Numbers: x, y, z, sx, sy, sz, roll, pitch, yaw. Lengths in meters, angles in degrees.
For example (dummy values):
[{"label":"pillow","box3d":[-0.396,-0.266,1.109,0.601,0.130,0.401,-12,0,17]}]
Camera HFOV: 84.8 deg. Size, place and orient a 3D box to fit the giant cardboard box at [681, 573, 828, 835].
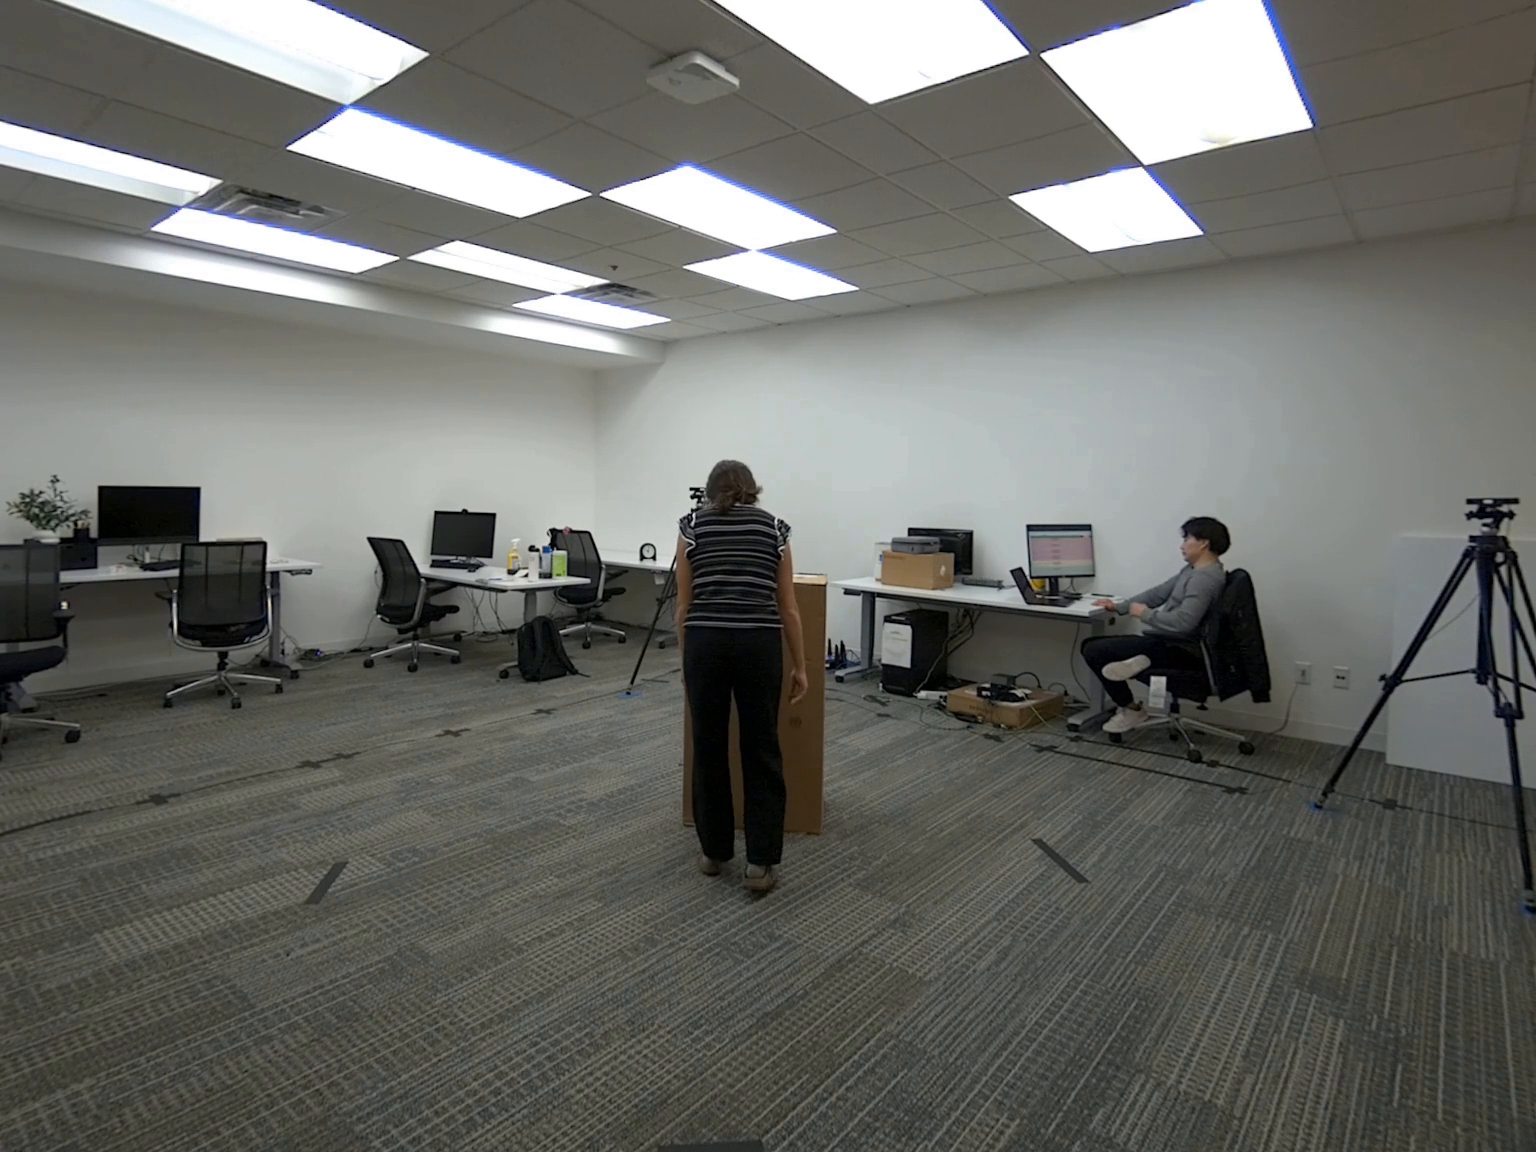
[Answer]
[{"label":"giant cardboard box","box3d":[-0.052,0.509,3.665,0.581,1.024,0.424,1,2,5]}]
